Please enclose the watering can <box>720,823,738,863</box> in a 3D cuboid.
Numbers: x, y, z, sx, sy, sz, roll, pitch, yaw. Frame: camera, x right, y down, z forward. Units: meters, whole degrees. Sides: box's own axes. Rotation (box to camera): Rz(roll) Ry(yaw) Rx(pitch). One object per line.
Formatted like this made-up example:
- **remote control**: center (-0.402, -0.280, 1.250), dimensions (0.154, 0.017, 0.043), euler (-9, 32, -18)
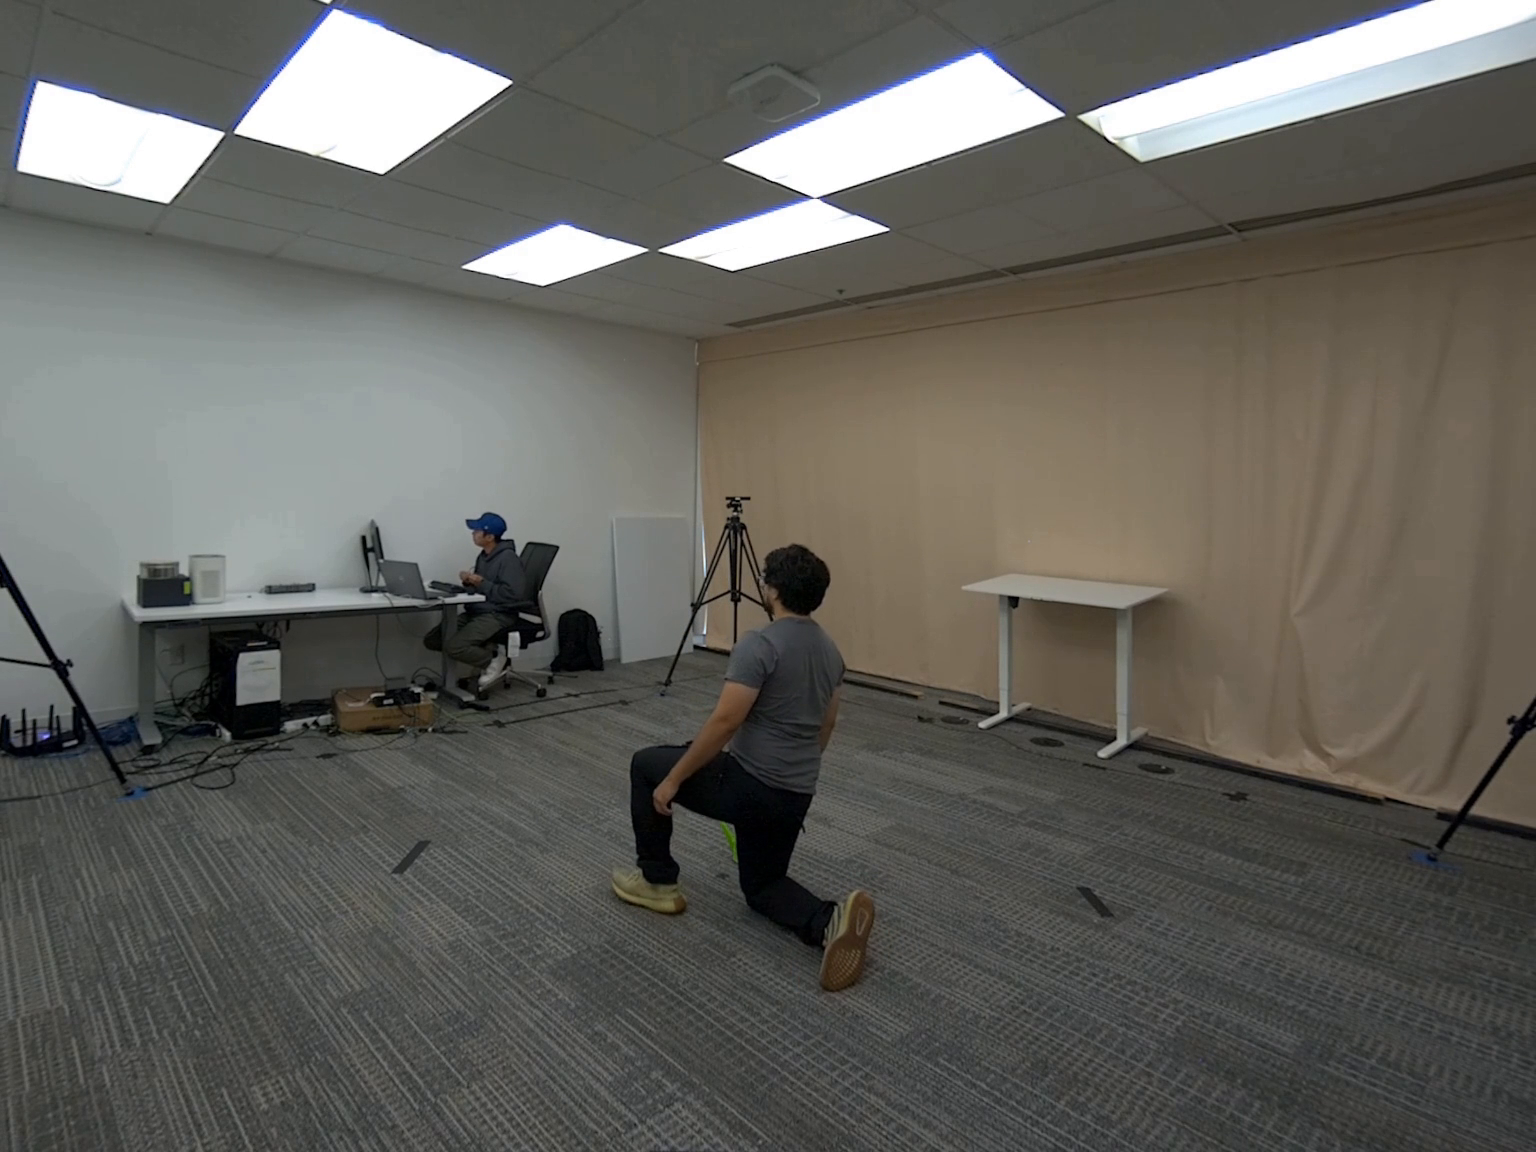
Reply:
- **watering can**: center (-0.110, 1.009, 3.248), dimensions (0.285, 0.176, 0.096), euler (5, 4, 42)
